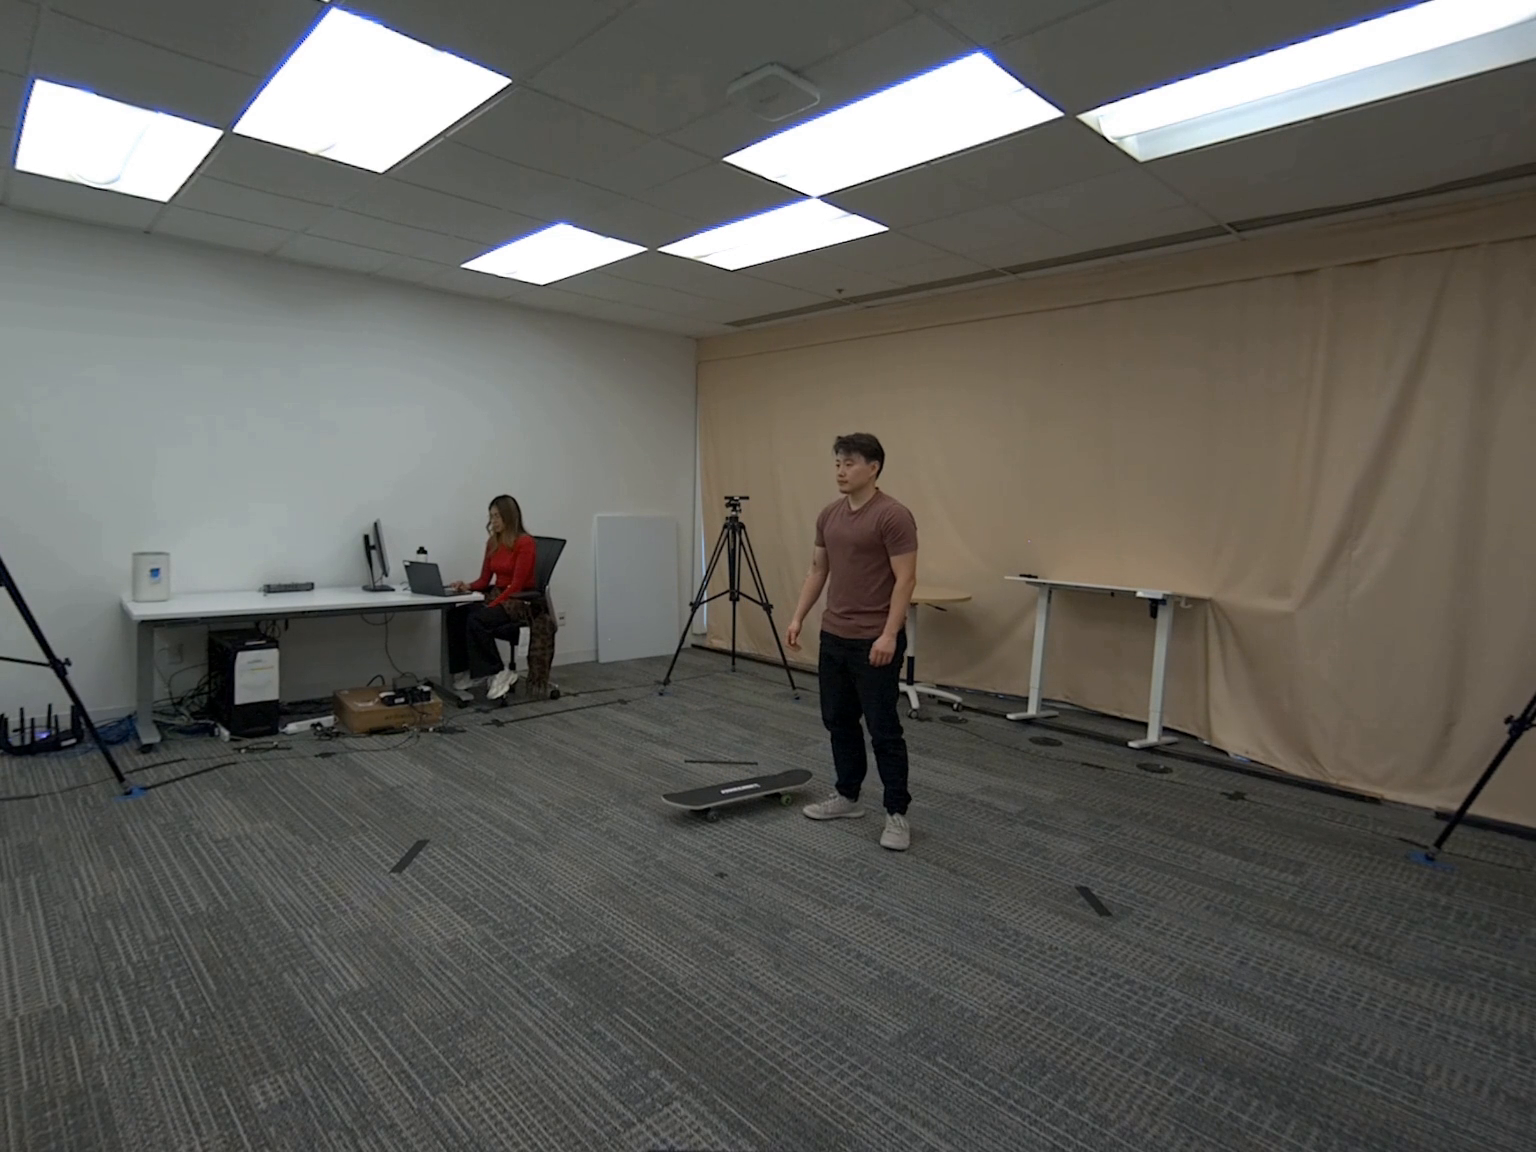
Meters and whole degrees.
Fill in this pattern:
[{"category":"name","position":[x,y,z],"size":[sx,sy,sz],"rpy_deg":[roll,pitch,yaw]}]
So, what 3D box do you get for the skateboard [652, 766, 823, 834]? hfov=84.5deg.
[{"category":"skateboard","position":[-0.124,0.986,3.786],"size":[0.768,0.110,0.198],"rpy_deg":[-2,4,-35]}]
